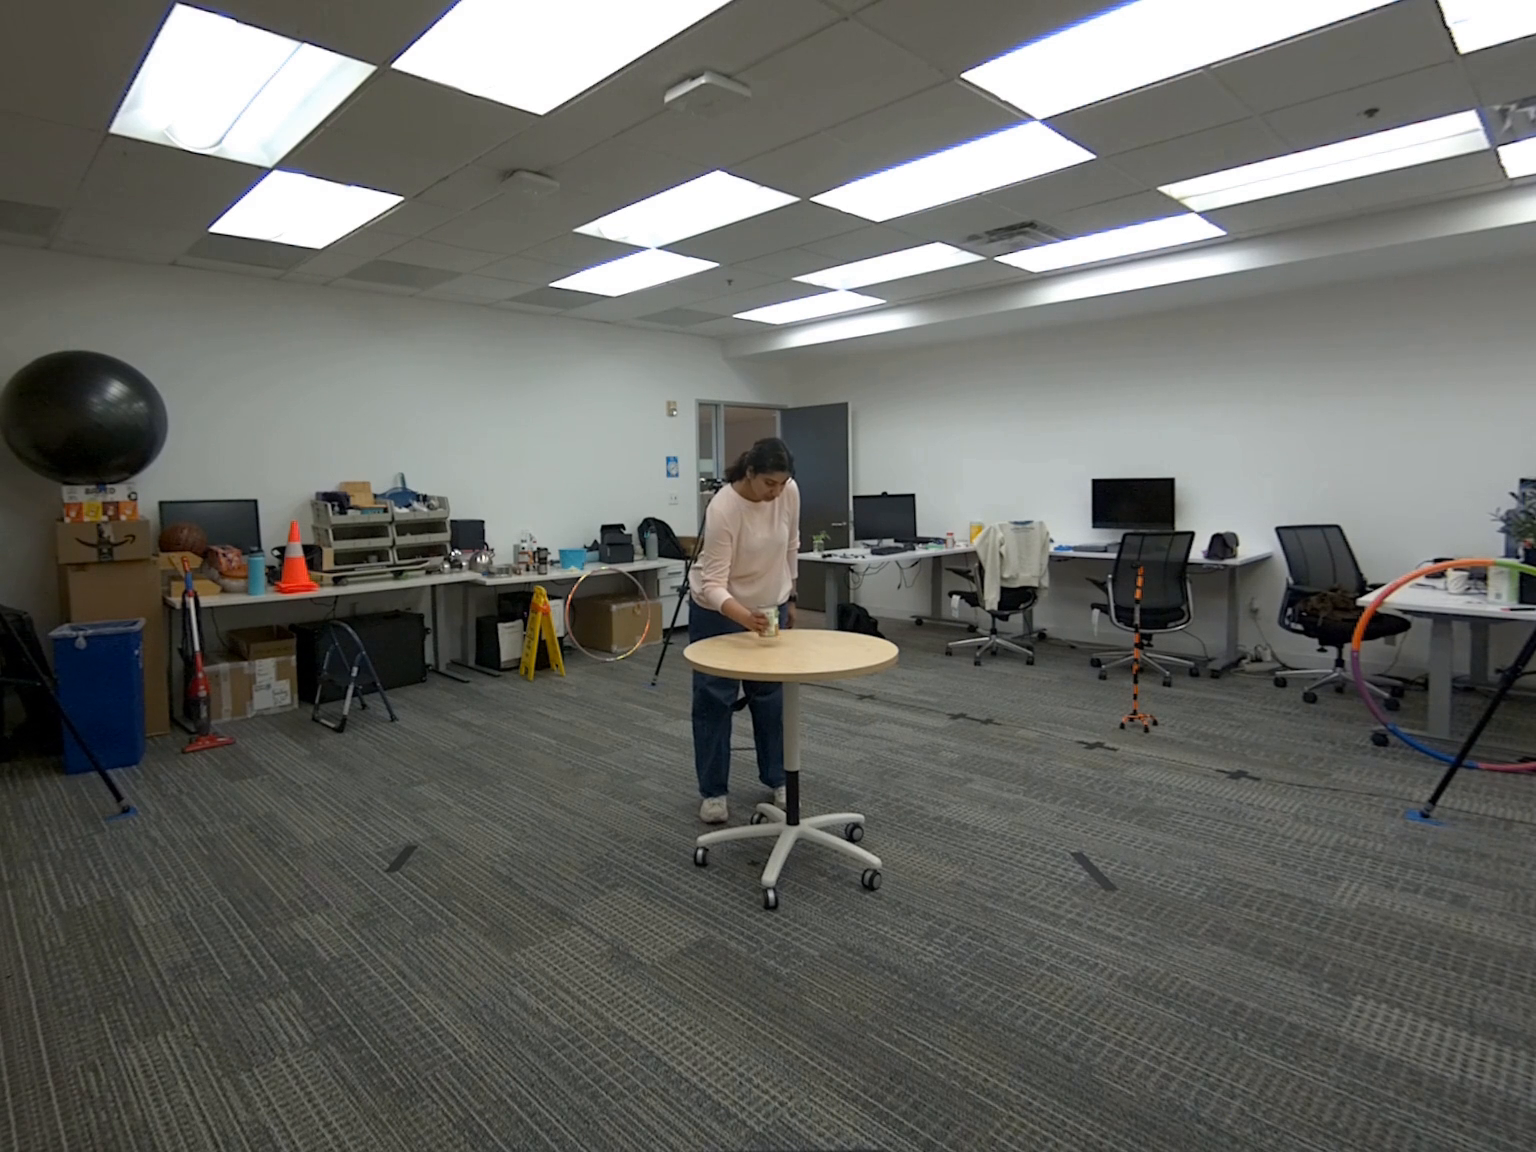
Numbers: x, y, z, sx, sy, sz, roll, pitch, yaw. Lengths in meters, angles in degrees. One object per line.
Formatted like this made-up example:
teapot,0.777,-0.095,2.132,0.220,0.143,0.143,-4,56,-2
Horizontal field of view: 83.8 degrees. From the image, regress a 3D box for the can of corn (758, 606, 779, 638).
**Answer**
can of corn,-0.011,0.166,3.122,0.074,0.111,0.074,-5,0,-2
